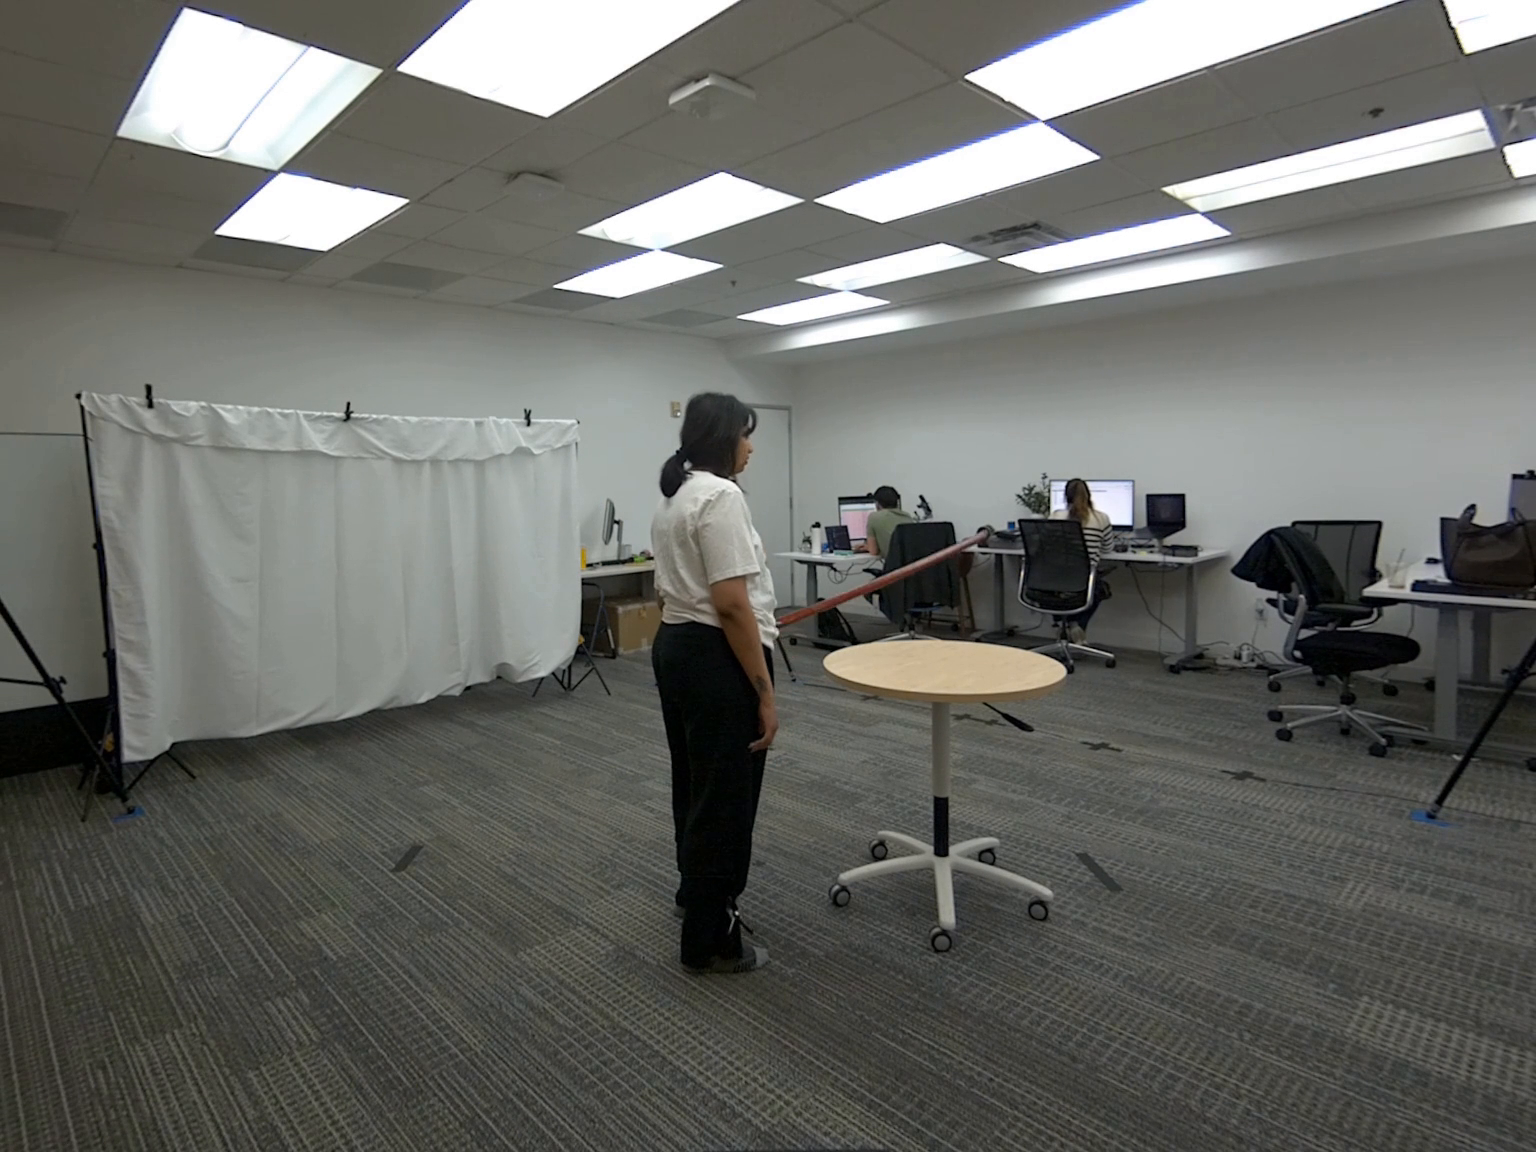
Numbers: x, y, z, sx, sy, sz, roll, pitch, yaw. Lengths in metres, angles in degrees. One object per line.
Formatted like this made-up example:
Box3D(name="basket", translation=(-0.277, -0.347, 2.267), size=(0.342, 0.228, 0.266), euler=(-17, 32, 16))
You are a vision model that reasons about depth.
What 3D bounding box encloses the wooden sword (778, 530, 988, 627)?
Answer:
Box3D(name="wooden sword", translation=(0.345, 0.048, 2.884), size=(1.015, 0.023, 0.053), euler=(-20, 21, -16))
